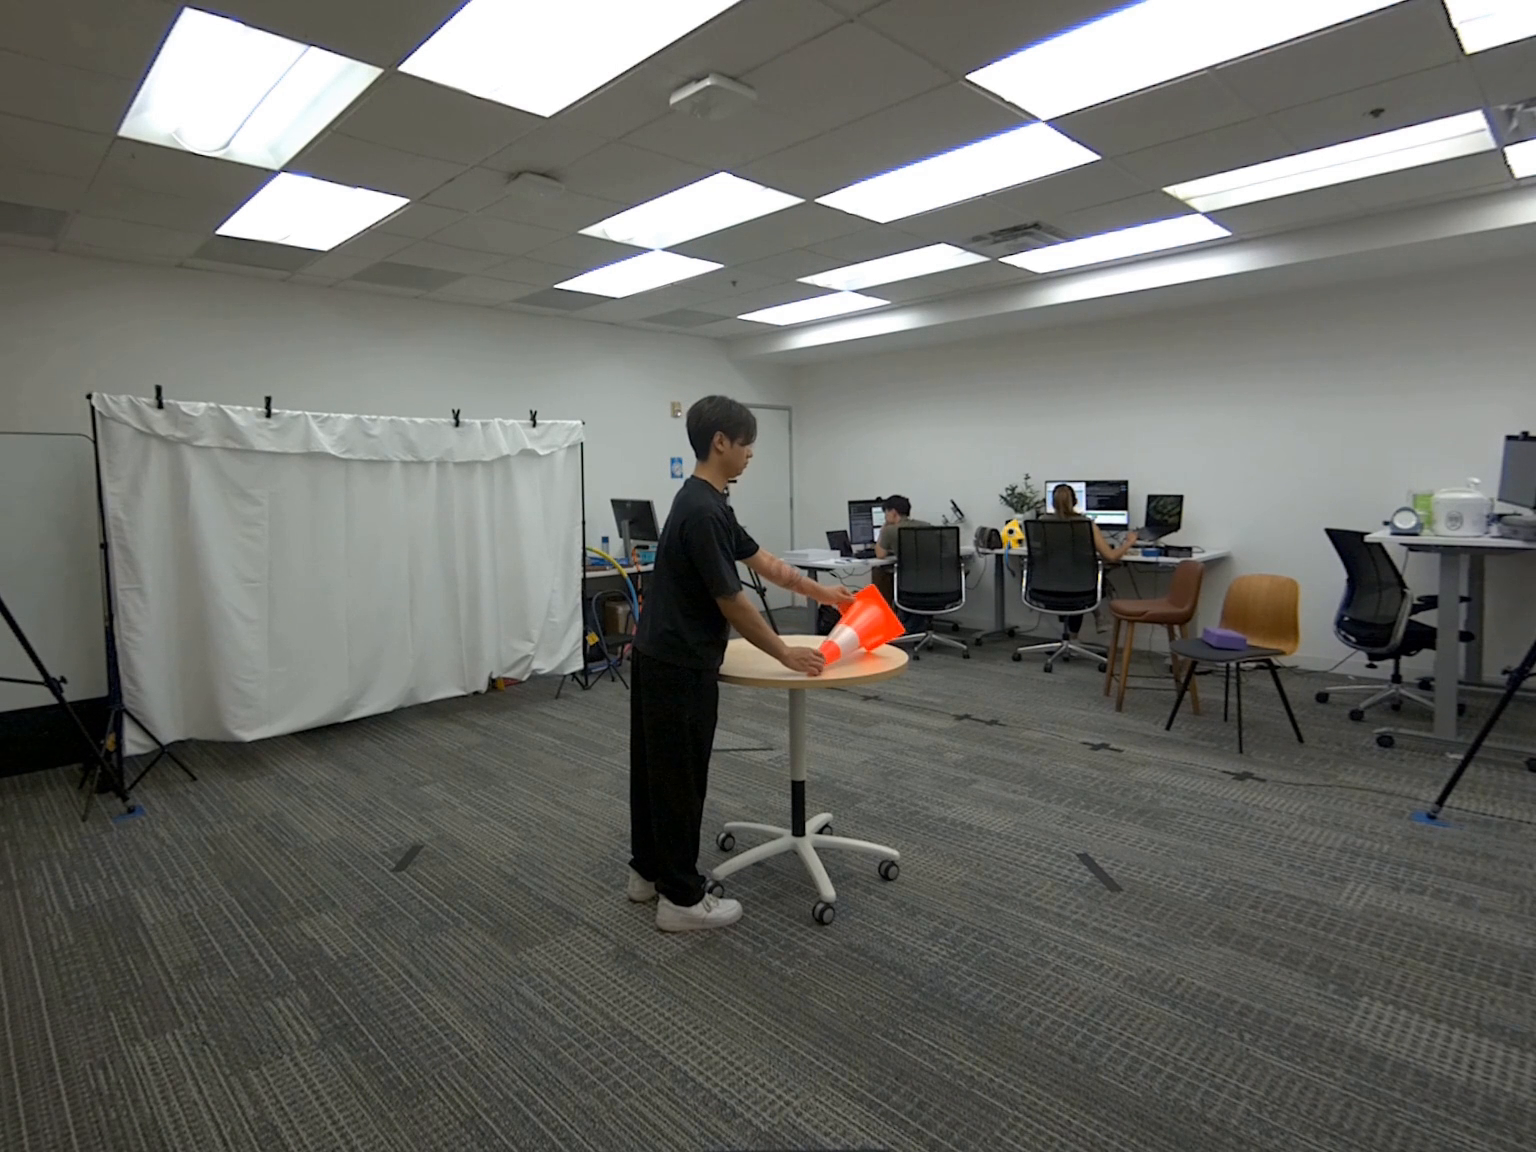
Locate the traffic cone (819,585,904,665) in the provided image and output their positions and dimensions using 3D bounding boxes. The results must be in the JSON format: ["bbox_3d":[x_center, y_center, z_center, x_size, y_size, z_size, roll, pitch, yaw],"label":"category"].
[{"bbox_3d":[0.257,0.225,2.833,0.380,0.206,0.204,-34,-4,-46],"label":"traffic cone"}]
